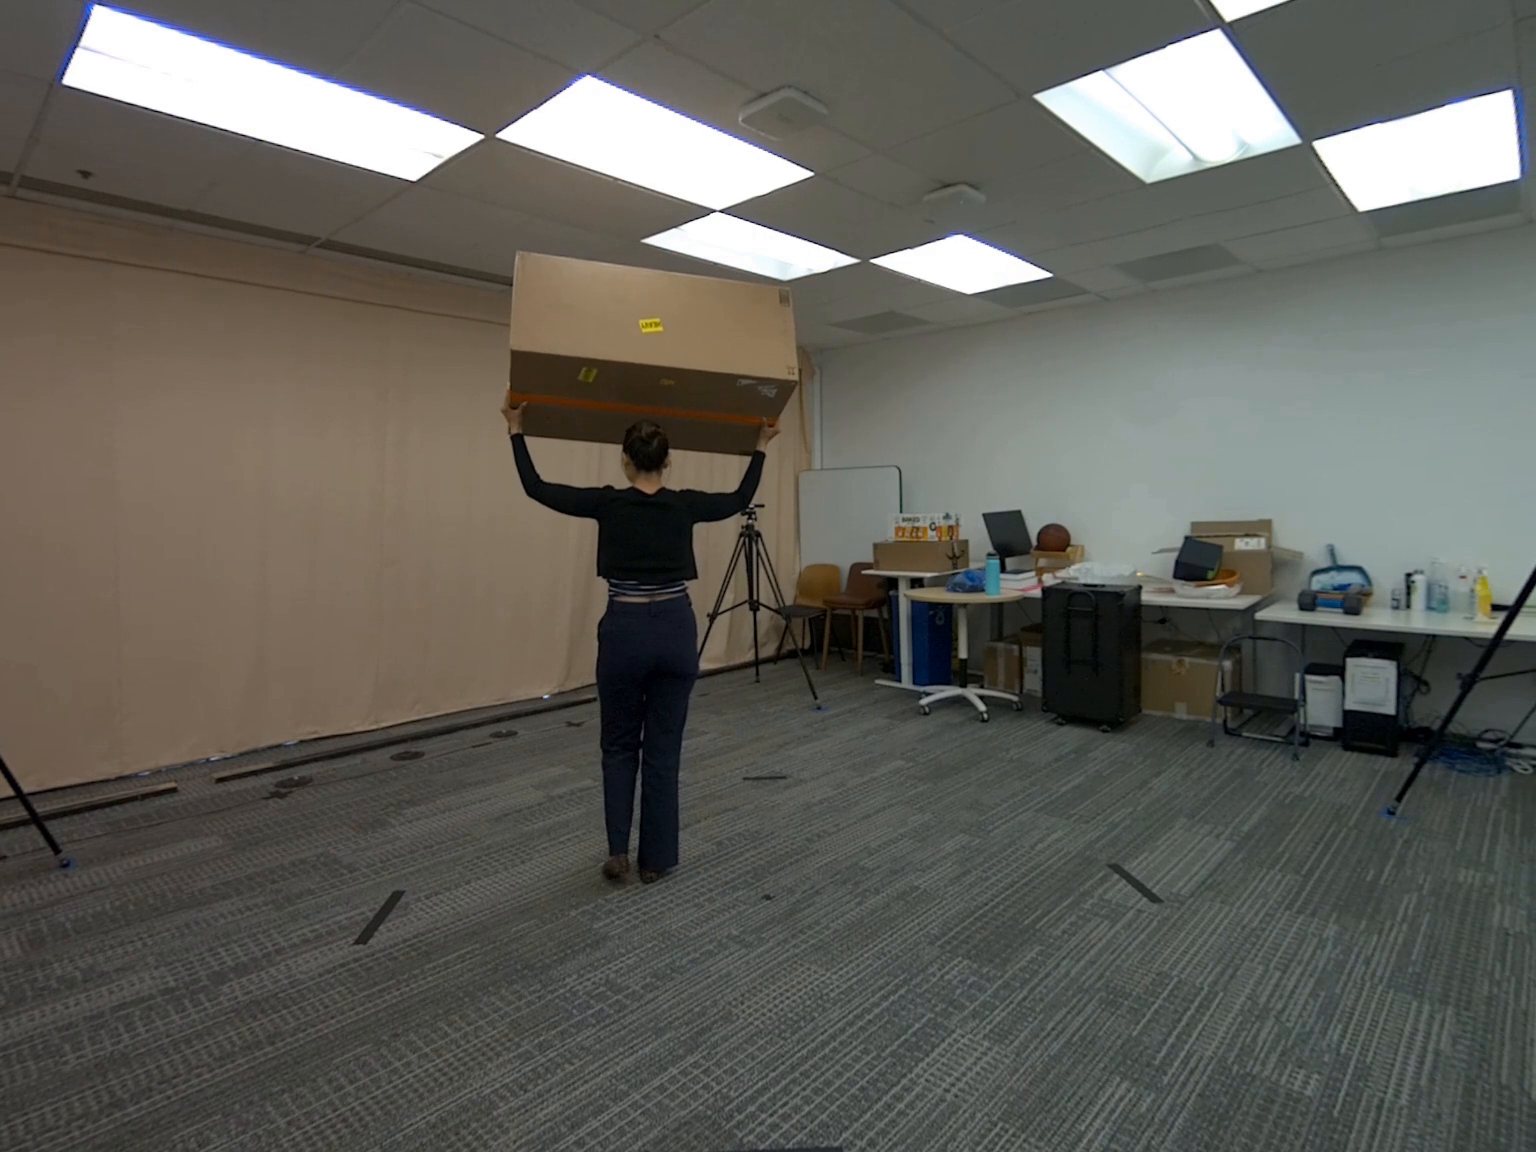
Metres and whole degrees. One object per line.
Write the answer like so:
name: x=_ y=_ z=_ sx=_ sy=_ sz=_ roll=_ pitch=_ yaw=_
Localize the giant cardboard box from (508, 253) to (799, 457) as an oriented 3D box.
giant cardboard box: x=-0.464 y=-0.815 z=3.255 sx=1.010 sy=0.432 sz=0.578 roll=4 pitch=-22 yaw=-14
